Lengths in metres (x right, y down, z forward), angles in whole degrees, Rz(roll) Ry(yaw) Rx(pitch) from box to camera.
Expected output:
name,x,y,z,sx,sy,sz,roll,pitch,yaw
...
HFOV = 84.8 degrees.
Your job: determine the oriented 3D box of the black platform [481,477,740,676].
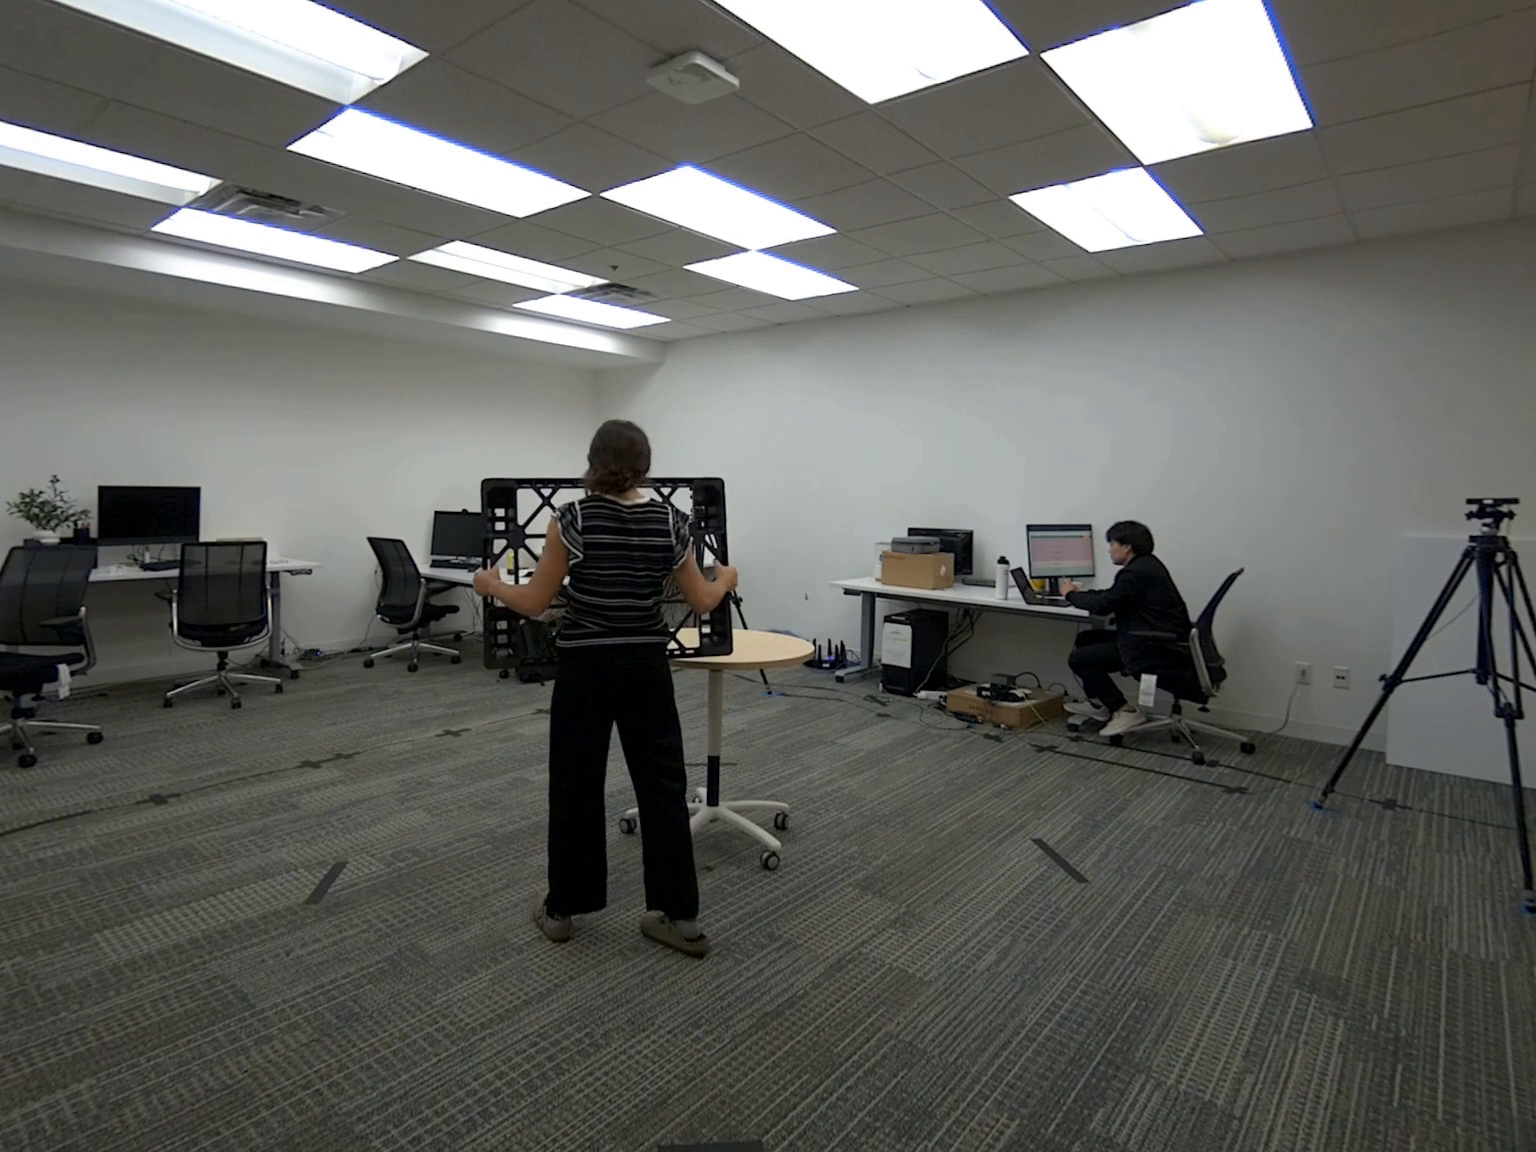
name,x,y,z,sx,sy,sz,roll,pitch,yaw
black platform,-0.543,-0.026,2.815,0.795,0.608,0.144,-2,-6,-13
